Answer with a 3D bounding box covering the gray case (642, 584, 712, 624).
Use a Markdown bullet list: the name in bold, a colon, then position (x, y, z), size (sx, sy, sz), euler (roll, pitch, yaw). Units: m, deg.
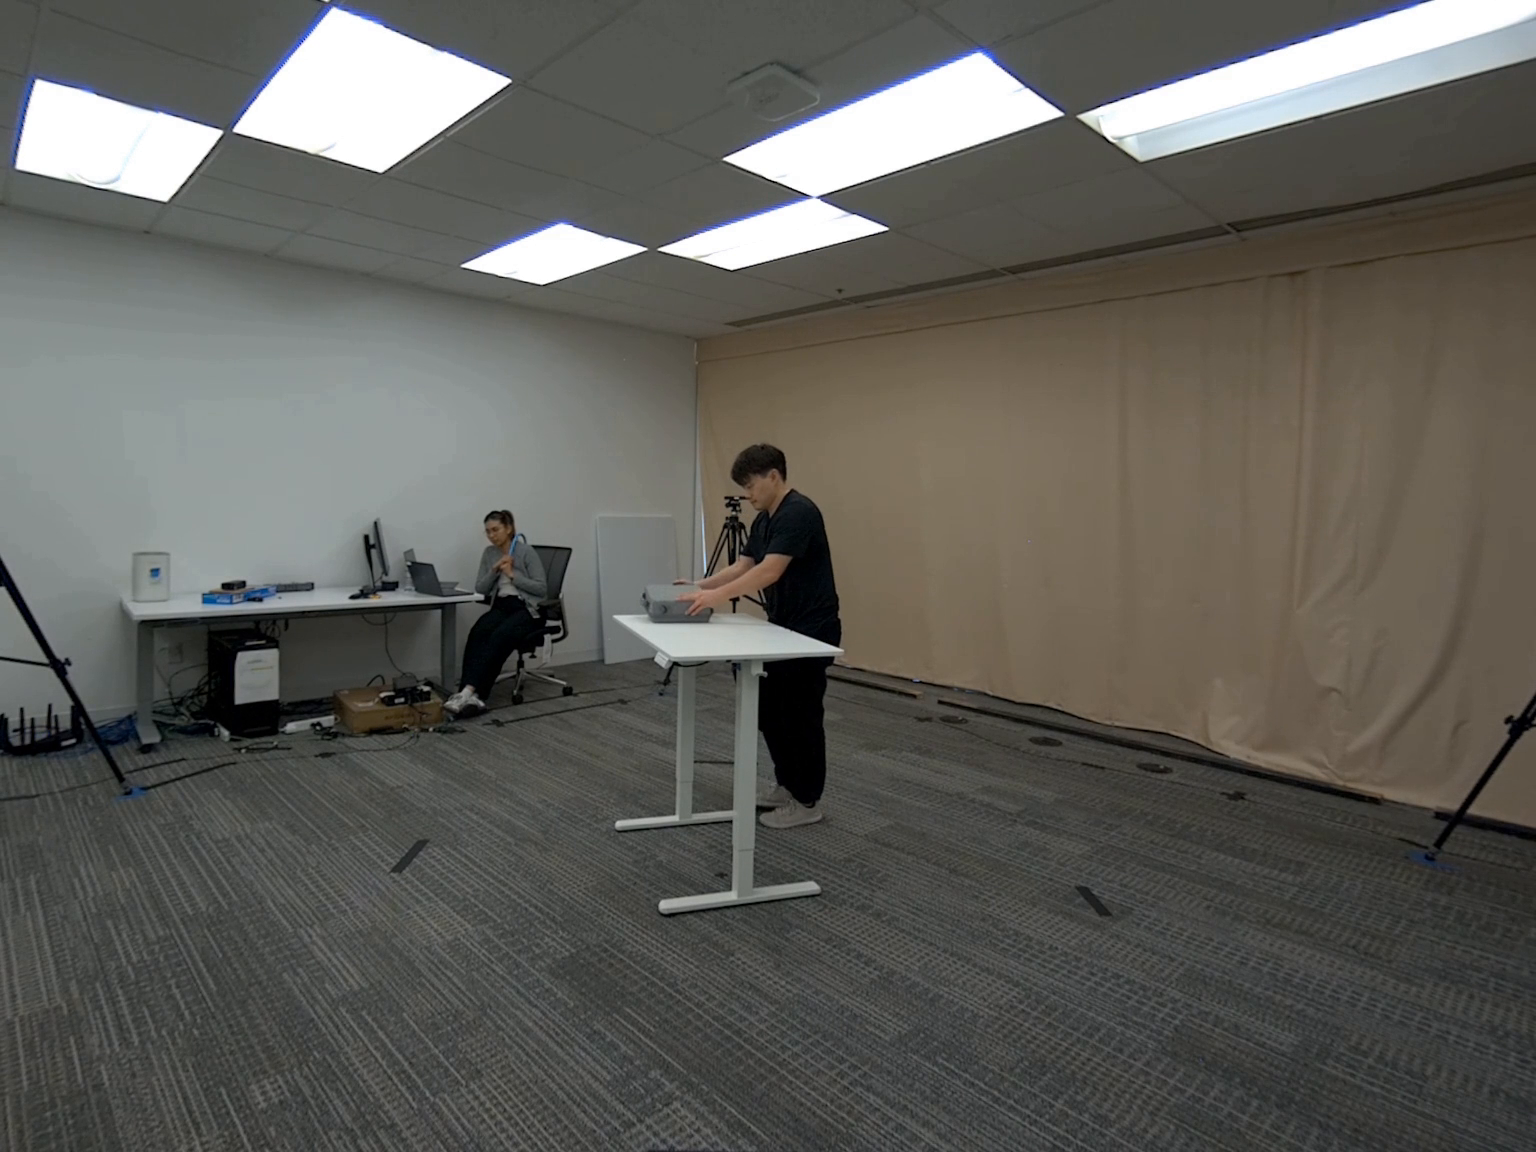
- **gray case**: position (-0.399, 0.115, 3.506), size (0.257, 0.103, 0.262), euler (1, 15, -17)
